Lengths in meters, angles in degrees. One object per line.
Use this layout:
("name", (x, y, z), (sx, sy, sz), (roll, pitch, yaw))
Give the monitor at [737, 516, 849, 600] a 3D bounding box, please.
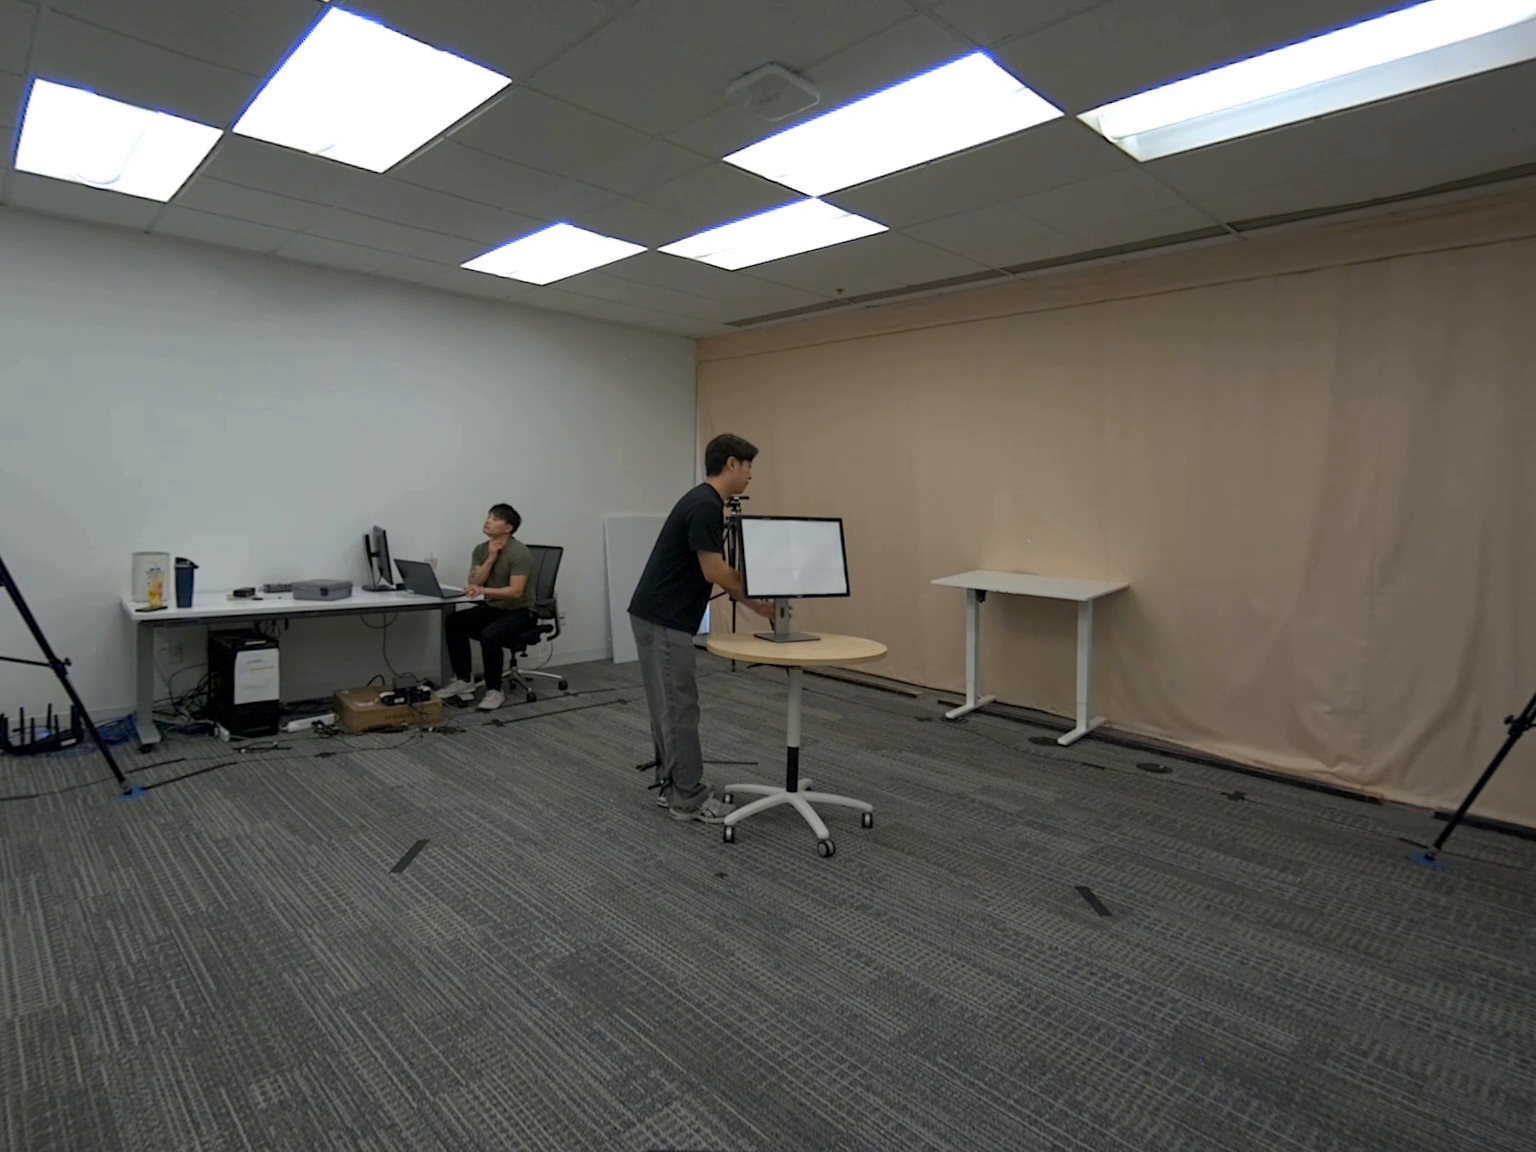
("monitor", (0.088, 0.018, 3.741), (0.551, 0.564, 0.227), (0, 6, -28))
